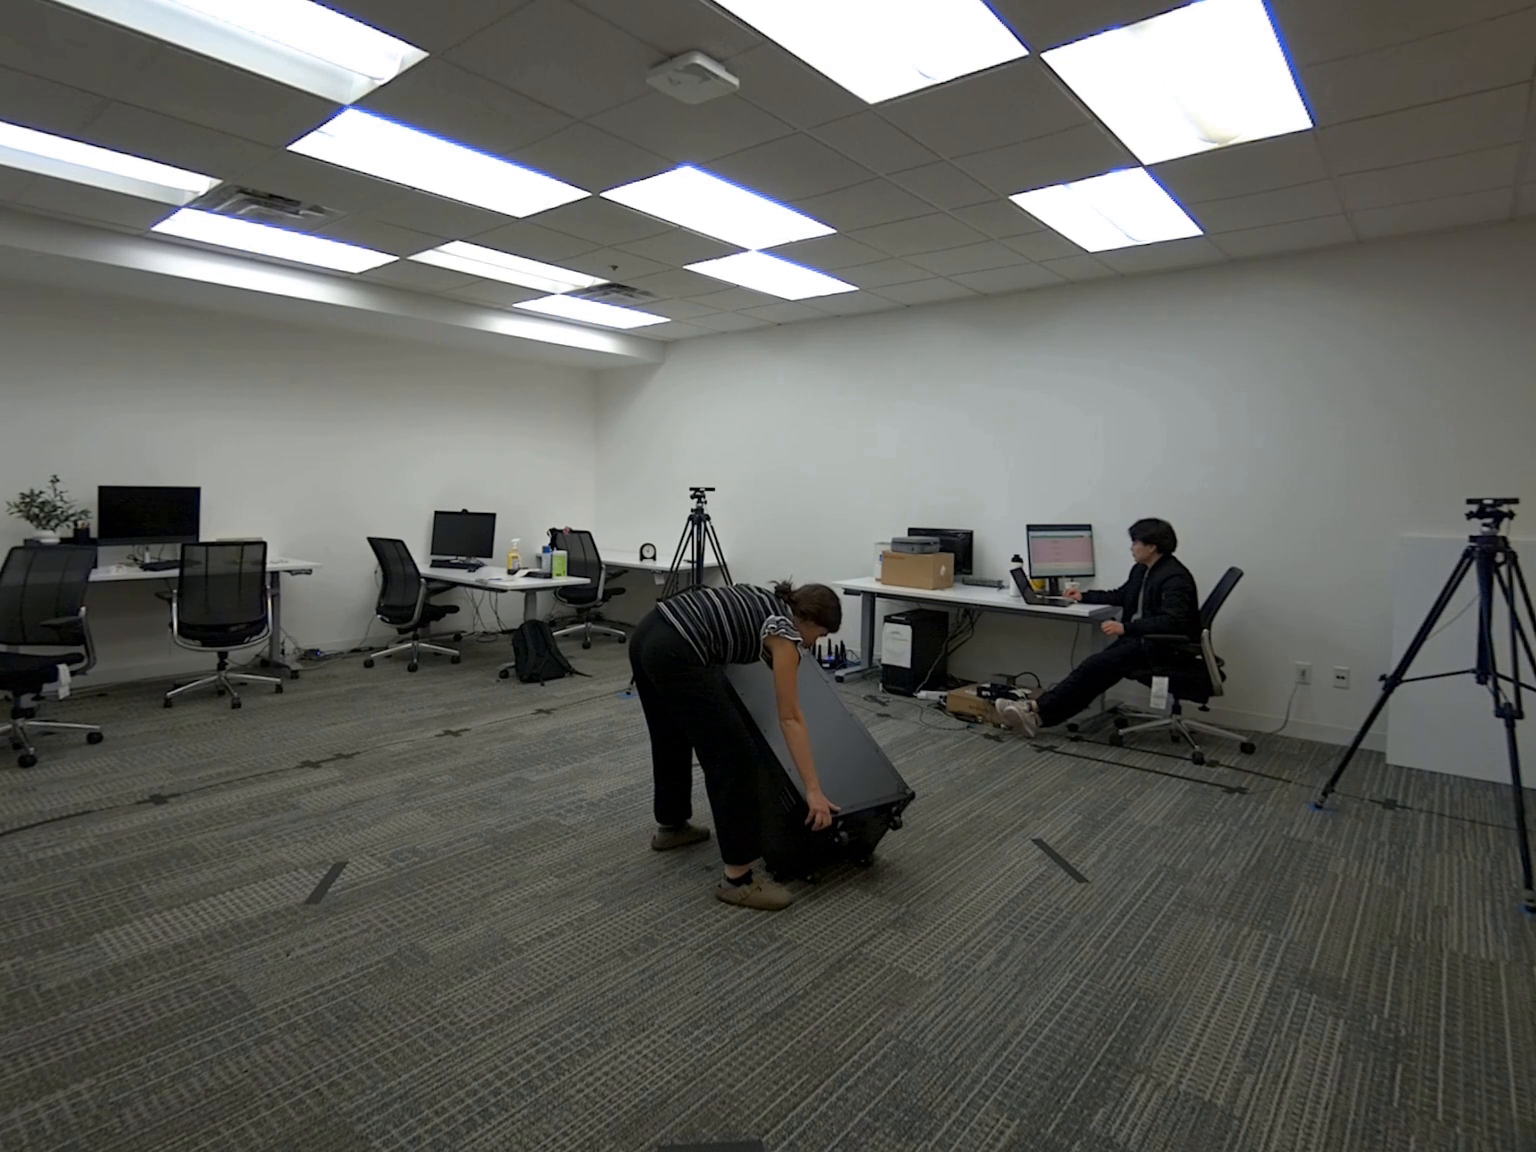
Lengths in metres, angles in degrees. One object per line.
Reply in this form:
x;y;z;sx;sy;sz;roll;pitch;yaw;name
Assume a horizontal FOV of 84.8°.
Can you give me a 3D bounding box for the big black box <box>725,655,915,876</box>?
0.108;0.711;3.304;0.506;0.391;0.898;-2;40;-36;big black box
